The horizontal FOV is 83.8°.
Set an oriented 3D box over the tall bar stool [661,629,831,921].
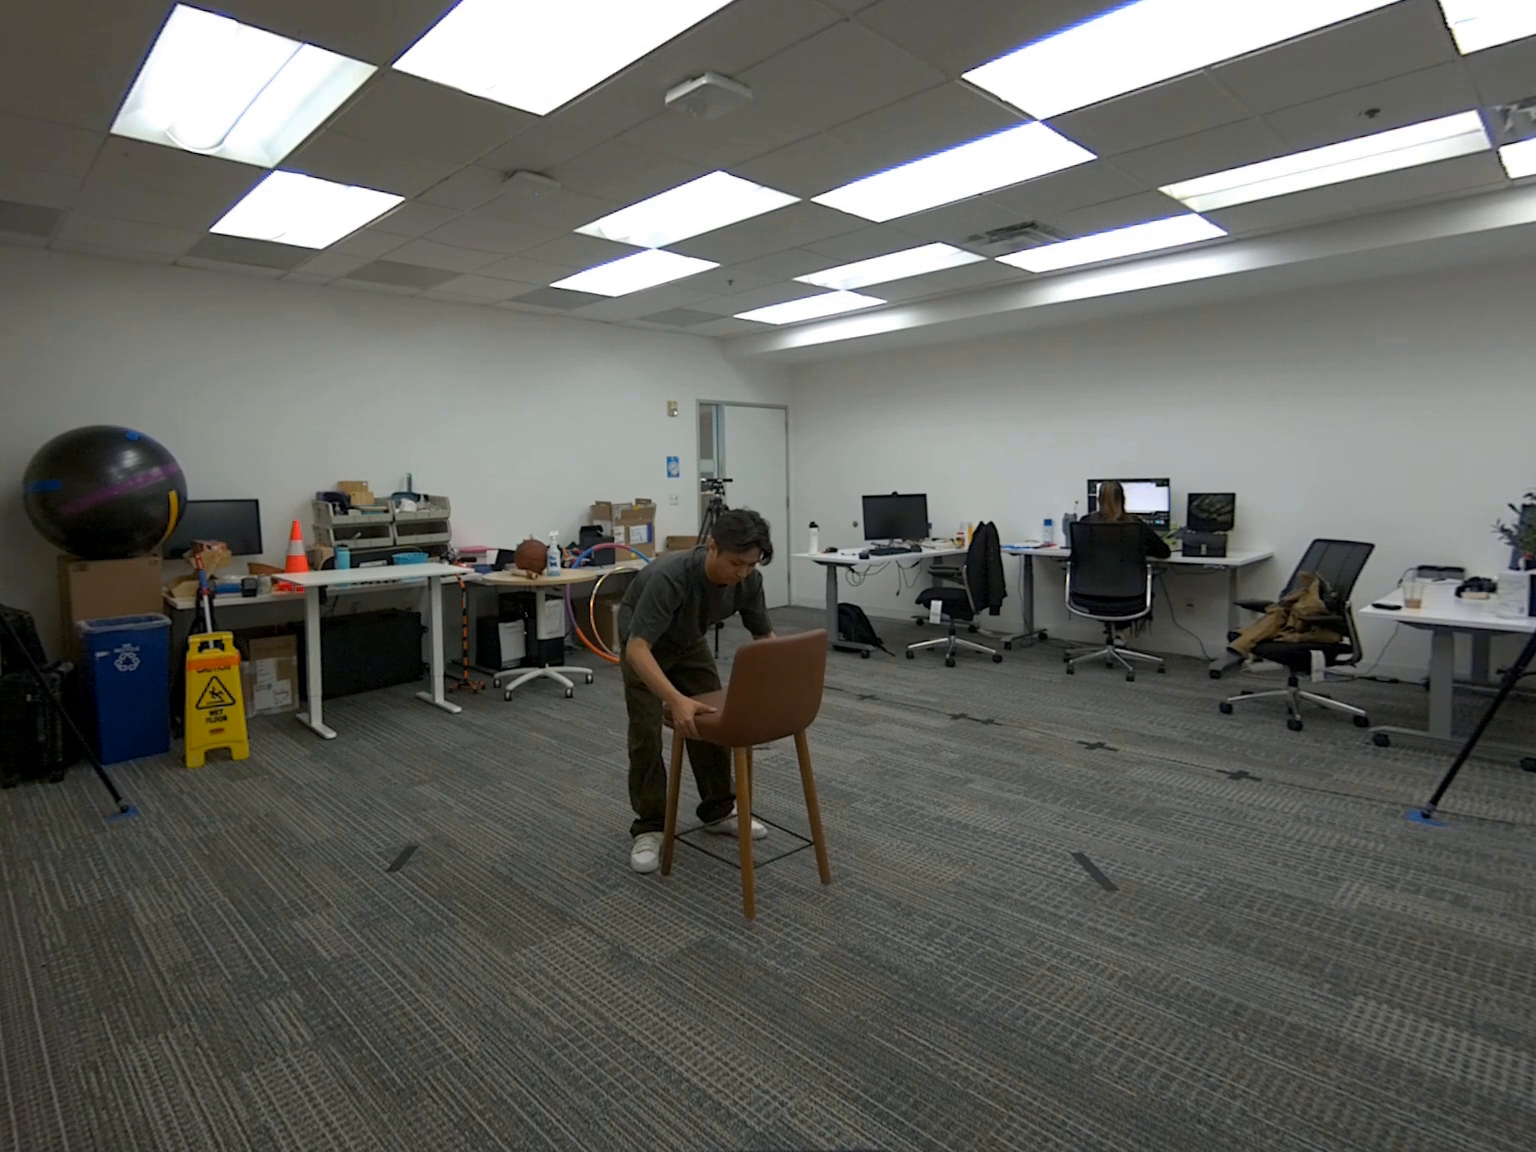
[{"bbox_3d":[-0.074,0.608,2.910,0.444,0.886,0.482,-4,7,-41],"label":"tall bar stool"}]
